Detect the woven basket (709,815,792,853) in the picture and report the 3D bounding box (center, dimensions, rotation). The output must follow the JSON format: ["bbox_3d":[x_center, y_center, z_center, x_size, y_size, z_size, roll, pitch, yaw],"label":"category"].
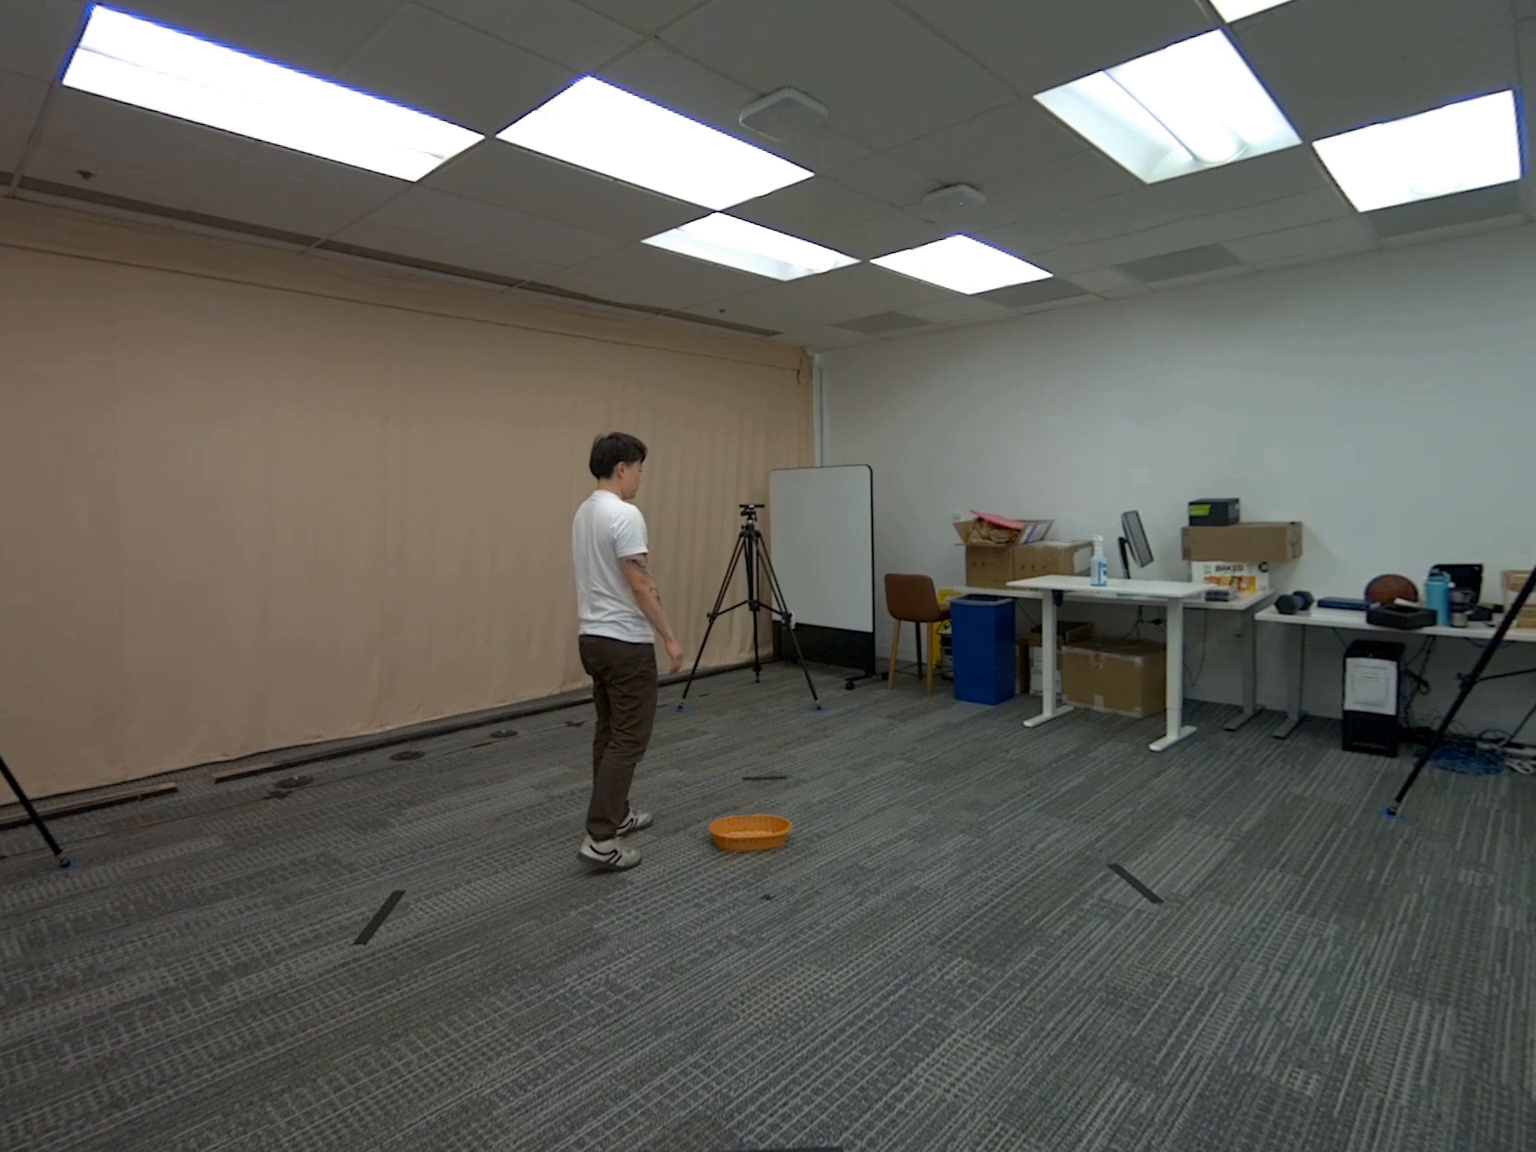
[{"bbox_3d":[-0.074,1.058,3.468,0.349,0.073,0.254,-2,5,-5],"label":"woven basket"}]
